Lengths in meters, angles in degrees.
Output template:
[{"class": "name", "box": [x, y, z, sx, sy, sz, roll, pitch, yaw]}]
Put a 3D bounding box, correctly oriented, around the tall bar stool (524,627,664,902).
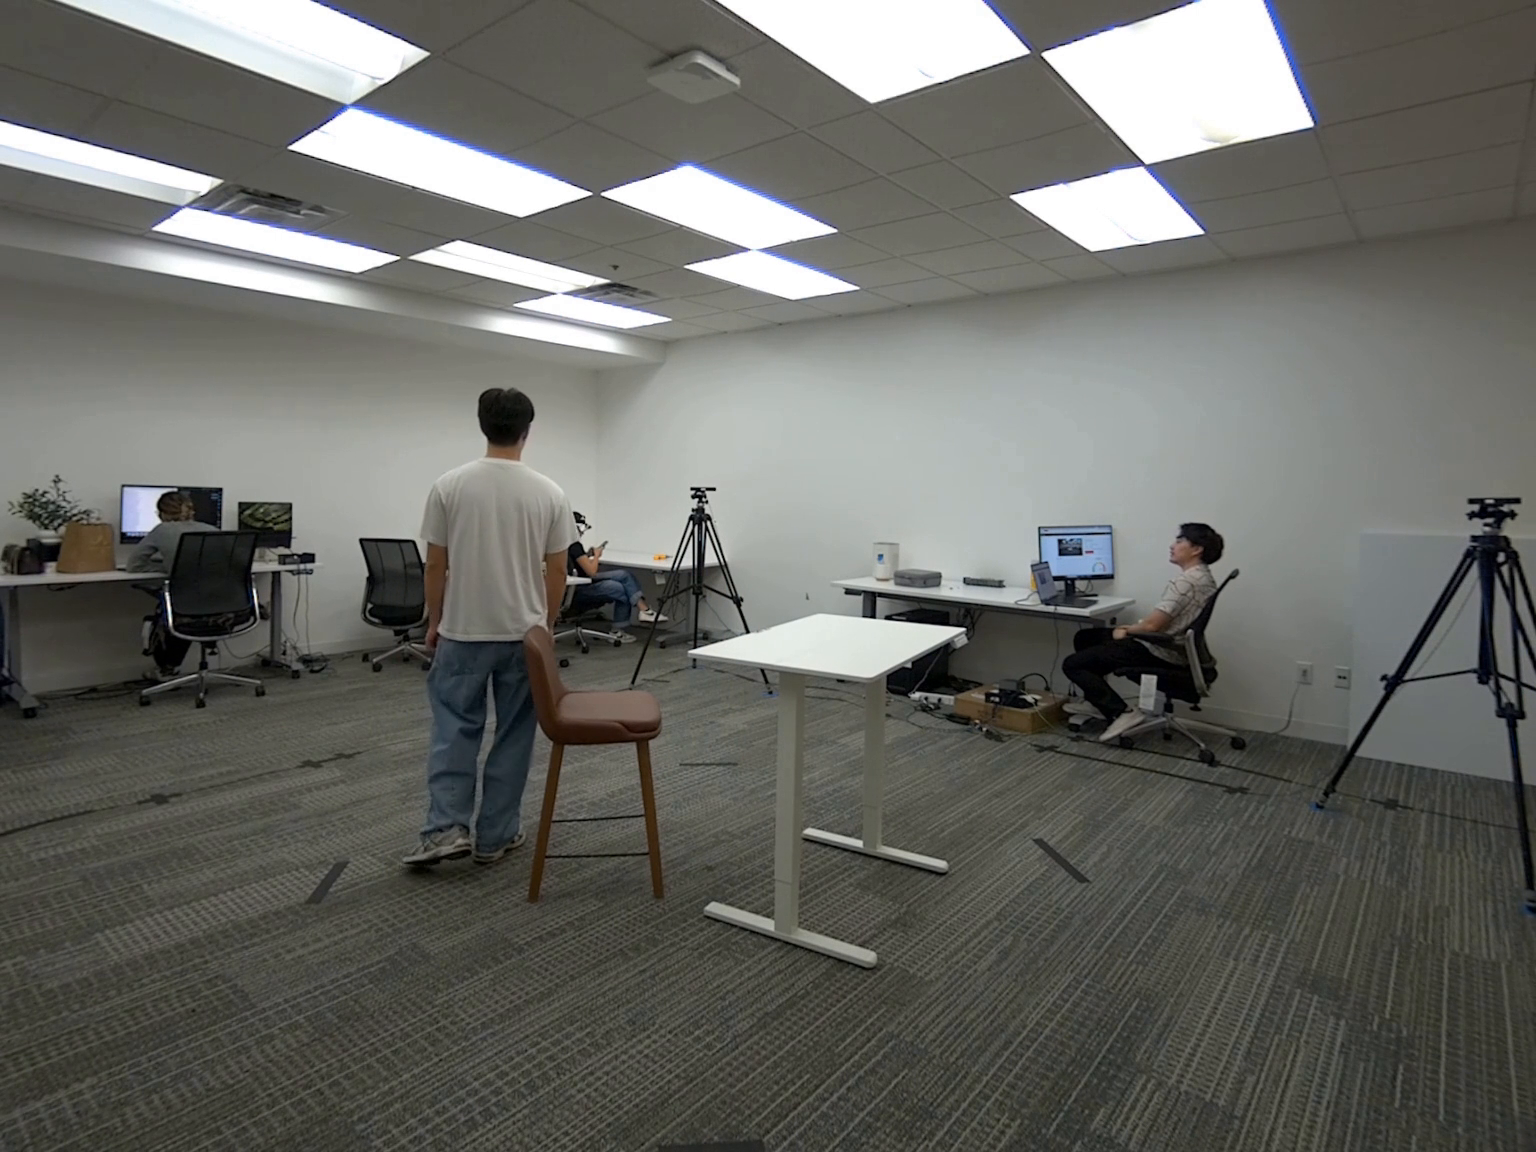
[{"class": "tall bar stool", "box": [-0.623, 0.630, 3.024, 0.462, 0.887, 0.463, -1, 3, -11]}]
